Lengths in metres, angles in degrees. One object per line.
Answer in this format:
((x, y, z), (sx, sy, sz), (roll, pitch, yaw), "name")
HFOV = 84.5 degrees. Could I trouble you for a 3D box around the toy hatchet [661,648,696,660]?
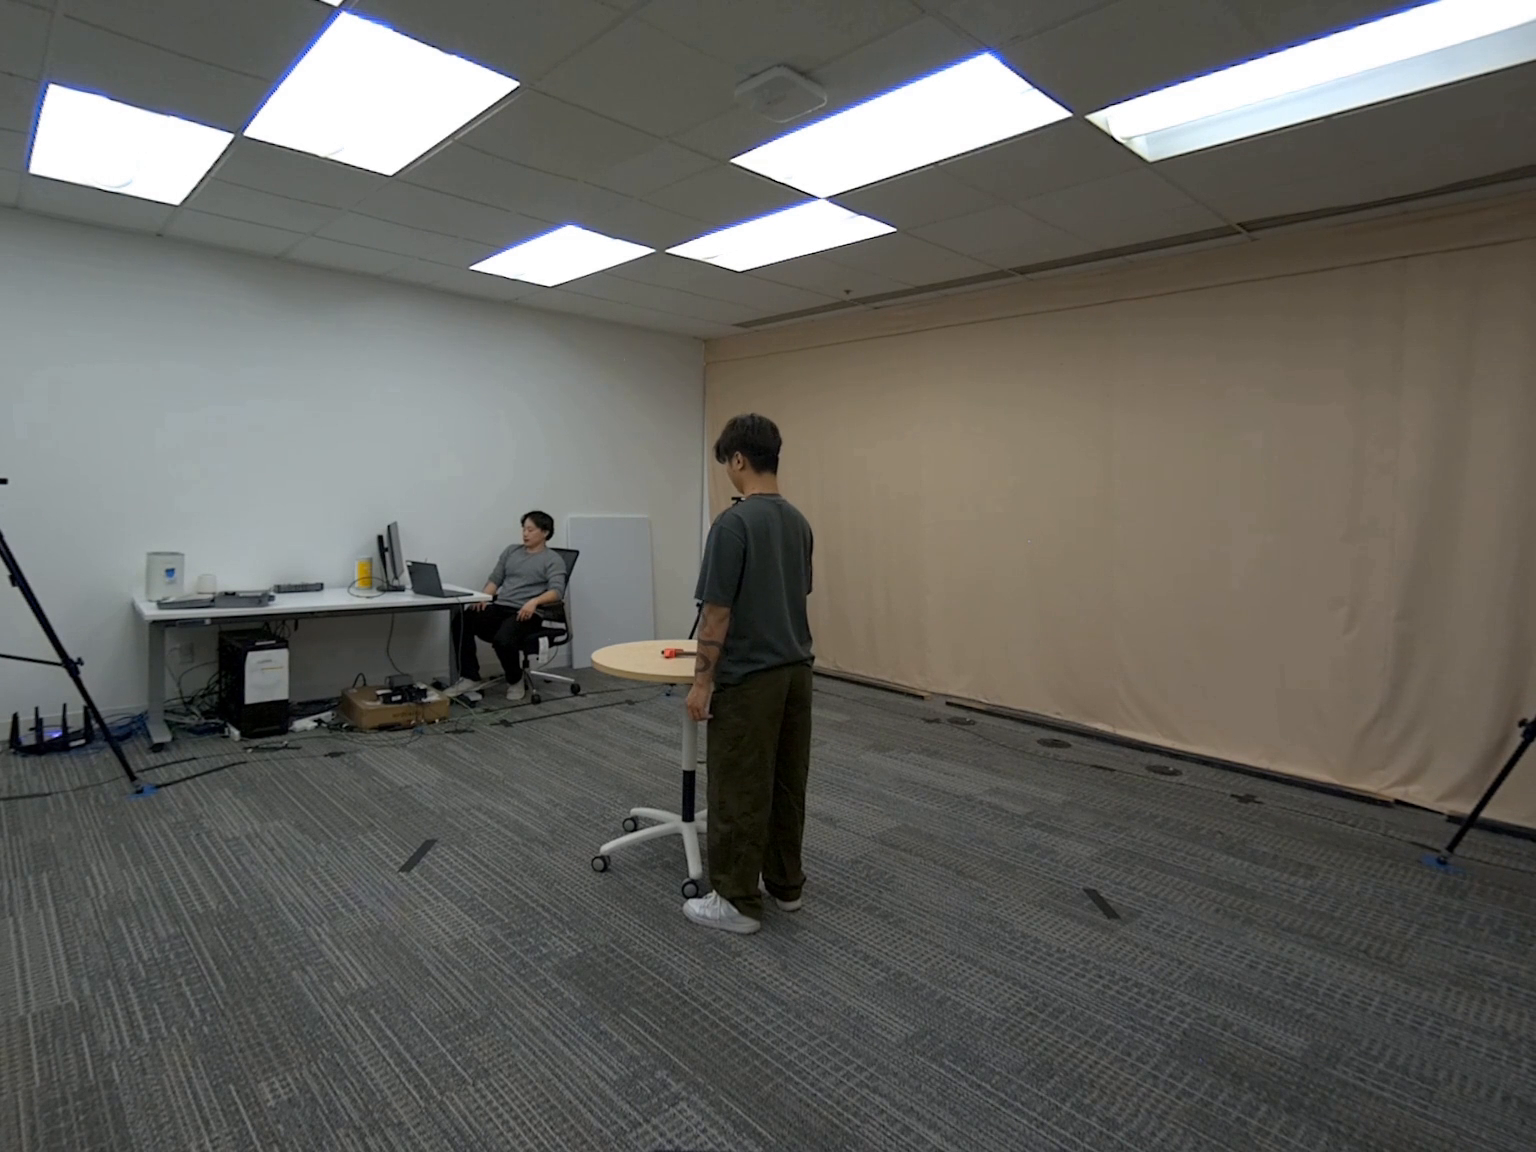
((-0.285, 0.295, 3.230), (0.266, 0.029, 0.133), (2, 1, -18), "toy hatchet")
